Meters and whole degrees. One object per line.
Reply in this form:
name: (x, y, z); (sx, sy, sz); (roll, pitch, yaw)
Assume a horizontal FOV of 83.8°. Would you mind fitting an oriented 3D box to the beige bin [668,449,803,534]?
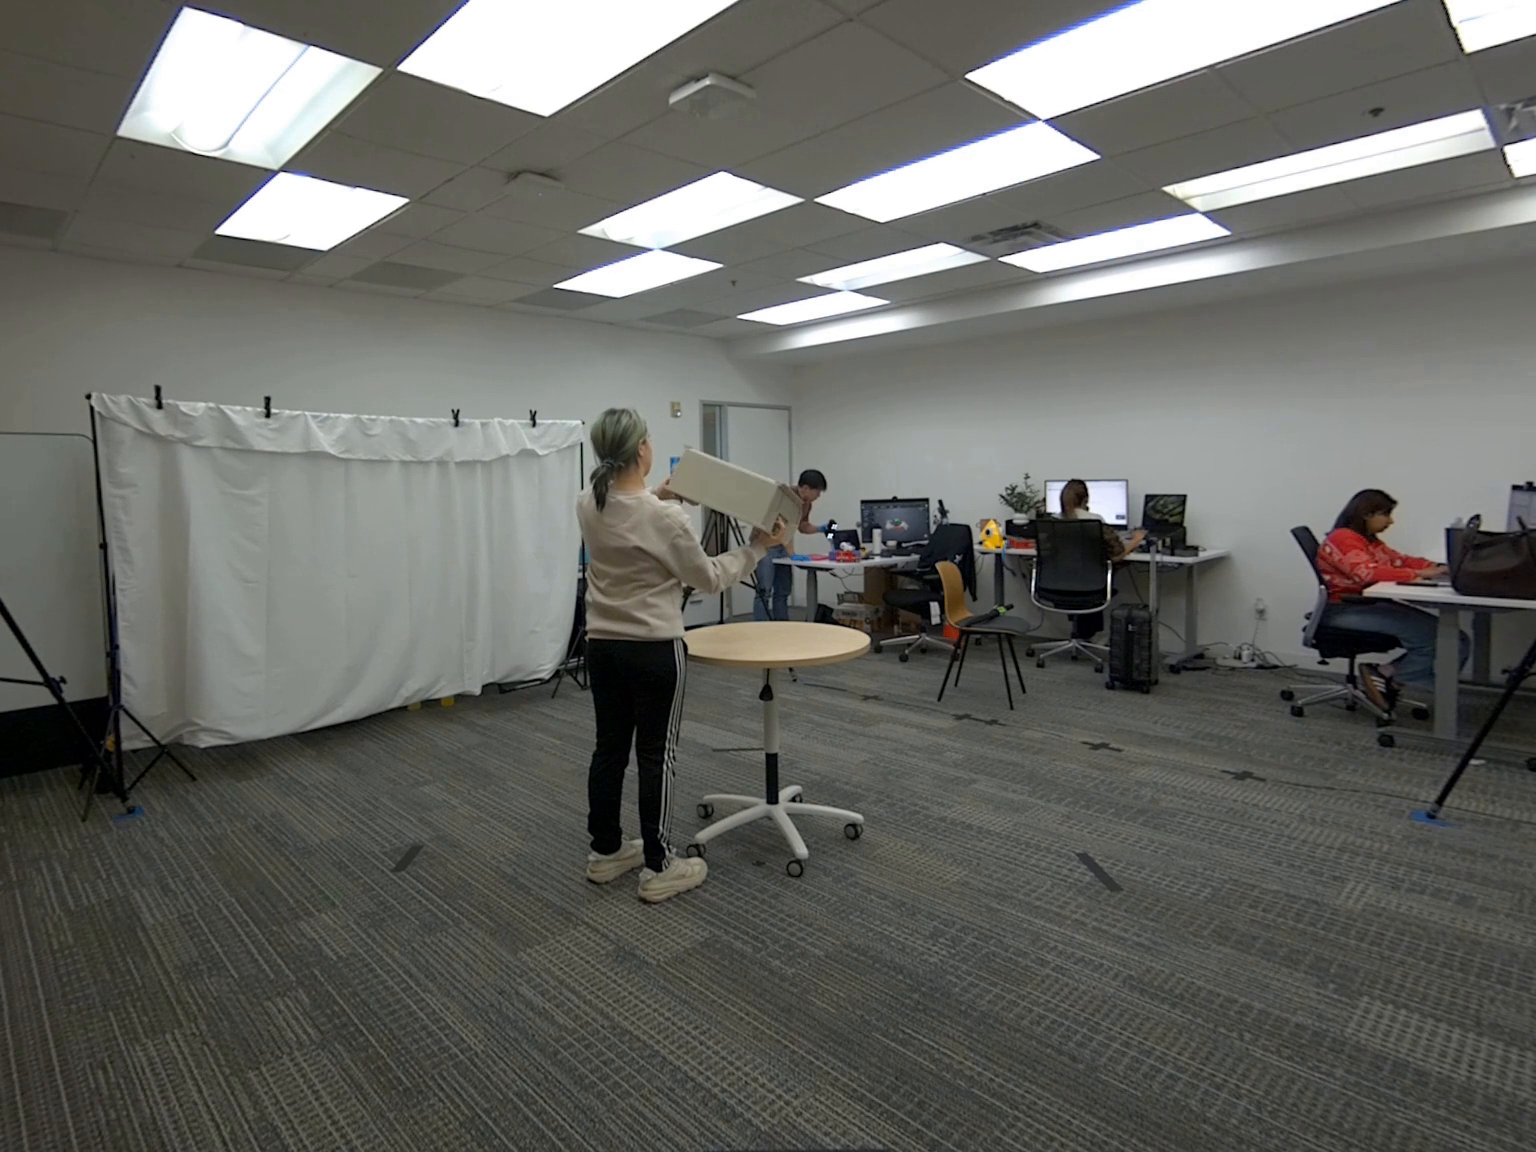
beige bin: (-0.110, -0.293, 3.183); (0.433, 0.189, 0.368); (24, 0, 19)
